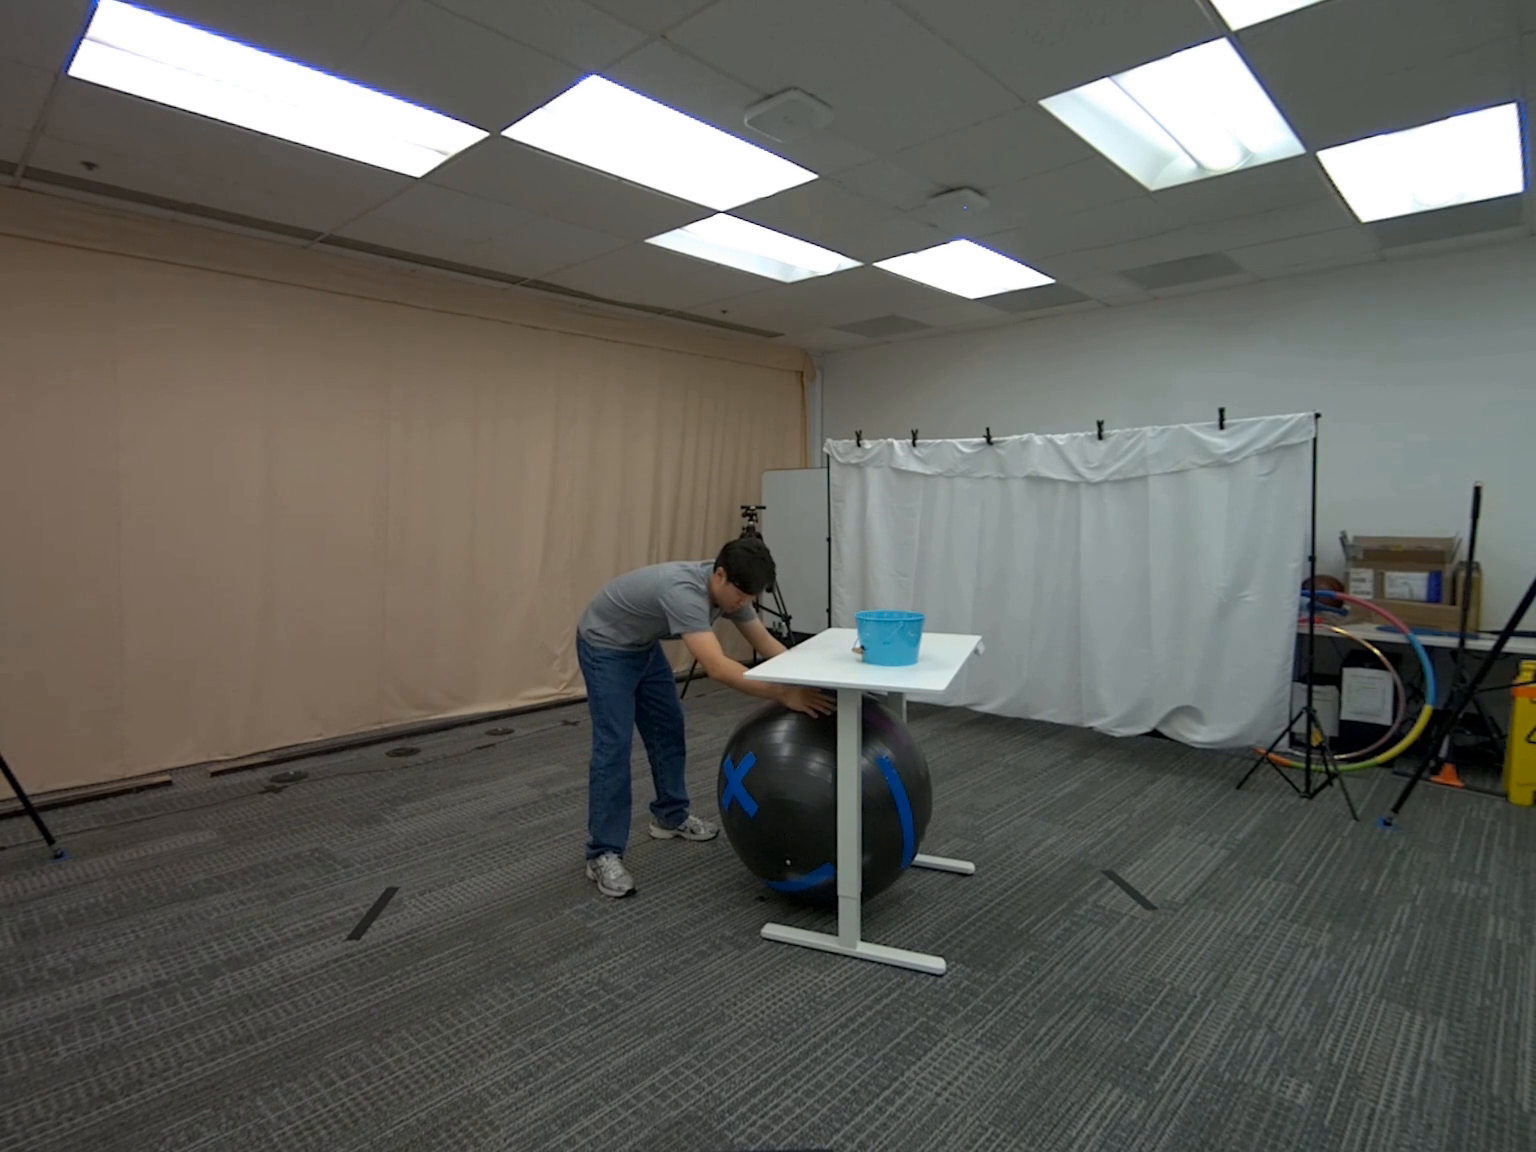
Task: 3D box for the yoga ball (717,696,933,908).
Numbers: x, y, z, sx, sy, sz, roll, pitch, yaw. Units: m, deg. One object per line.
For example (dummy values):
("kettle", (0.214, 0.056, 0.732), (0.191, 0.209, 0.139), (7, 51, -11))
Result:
("yoga ball", (0.200, 0.768, 3.016), (0.757, 0.756, 0.760), (0, 4, -2))
